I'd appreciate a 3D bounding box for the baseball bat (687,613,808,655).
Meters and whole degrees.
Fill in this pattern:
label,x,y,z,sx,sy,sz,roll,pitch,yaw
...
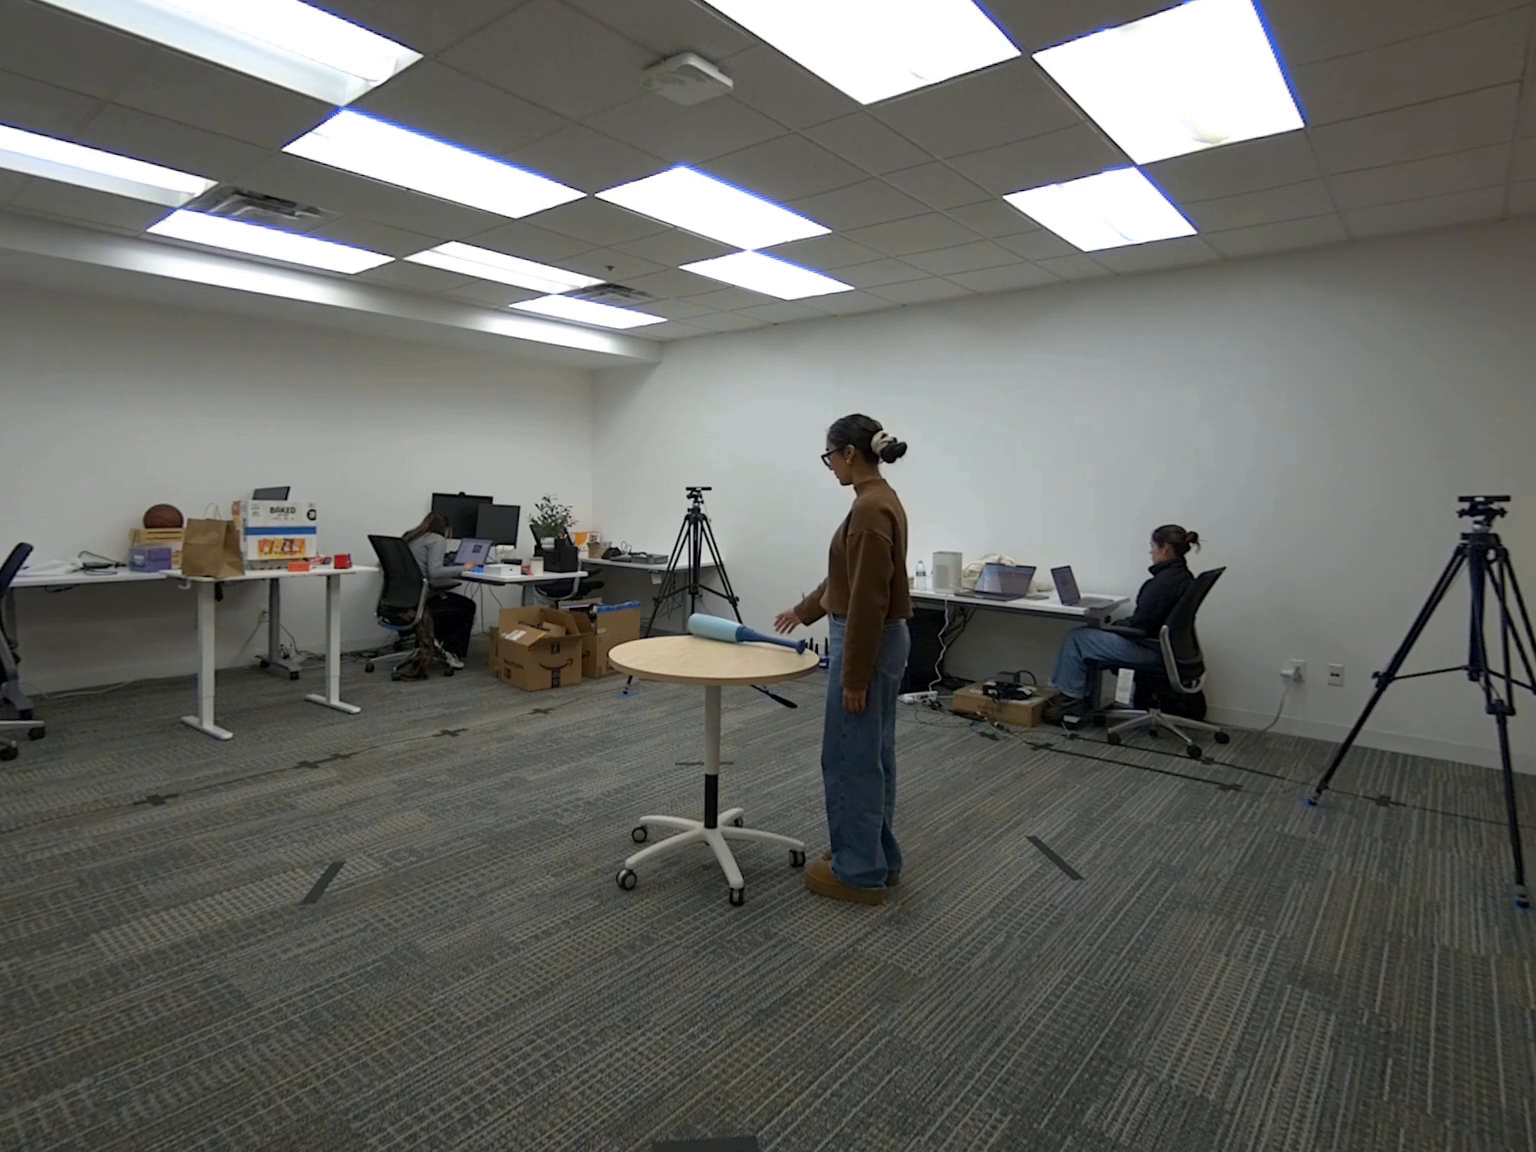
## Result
label,x,y,z,sx,sy,sz,roll,pitch,yaw
baseball bat,-0.094,0.225,3.317,0.561,0.088,0.086,8,8,36
